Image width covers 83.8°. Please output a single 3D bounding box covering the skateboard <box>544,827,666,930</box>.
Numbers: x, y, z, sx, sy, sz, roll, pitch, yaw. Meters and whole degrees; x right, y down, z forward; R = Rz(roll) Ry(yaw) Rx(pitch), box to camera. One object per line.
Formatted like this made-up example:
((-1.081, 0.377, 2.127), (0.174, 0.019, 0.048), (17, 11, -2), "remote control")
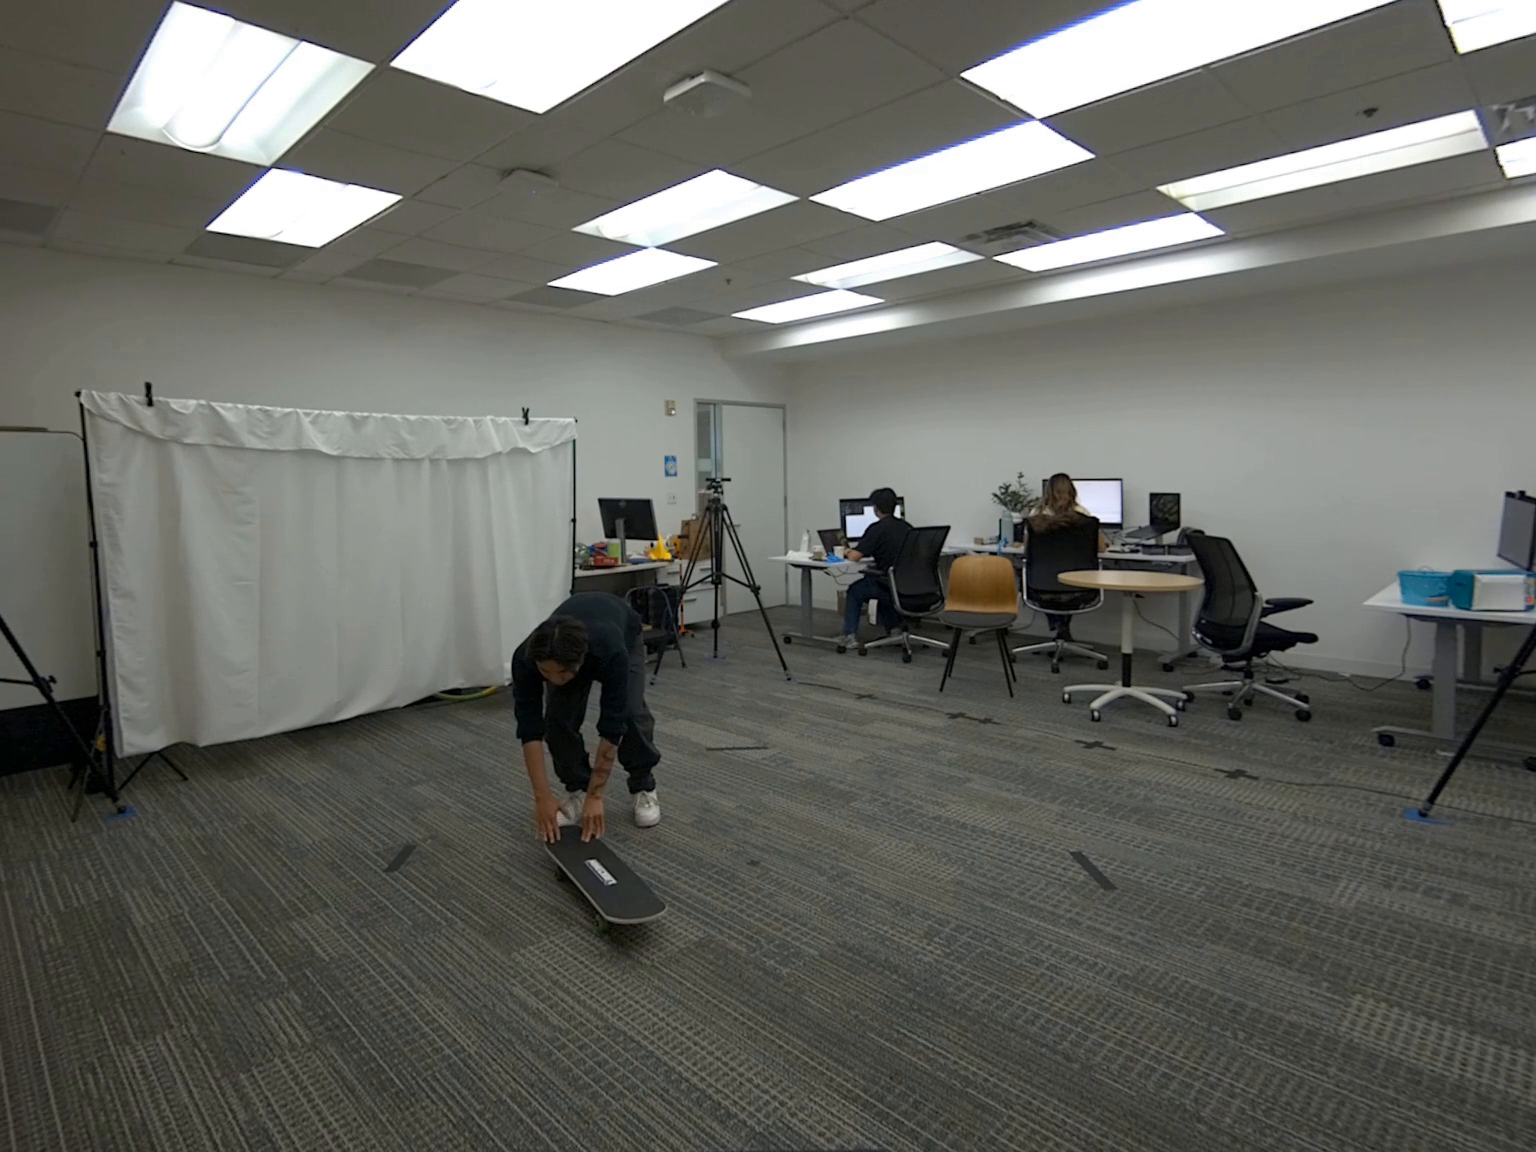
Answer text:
((-0.556, 1.025, 2.863), (0.189, 0.110, 0.808), (-6, 8, -31), "skateboard")
